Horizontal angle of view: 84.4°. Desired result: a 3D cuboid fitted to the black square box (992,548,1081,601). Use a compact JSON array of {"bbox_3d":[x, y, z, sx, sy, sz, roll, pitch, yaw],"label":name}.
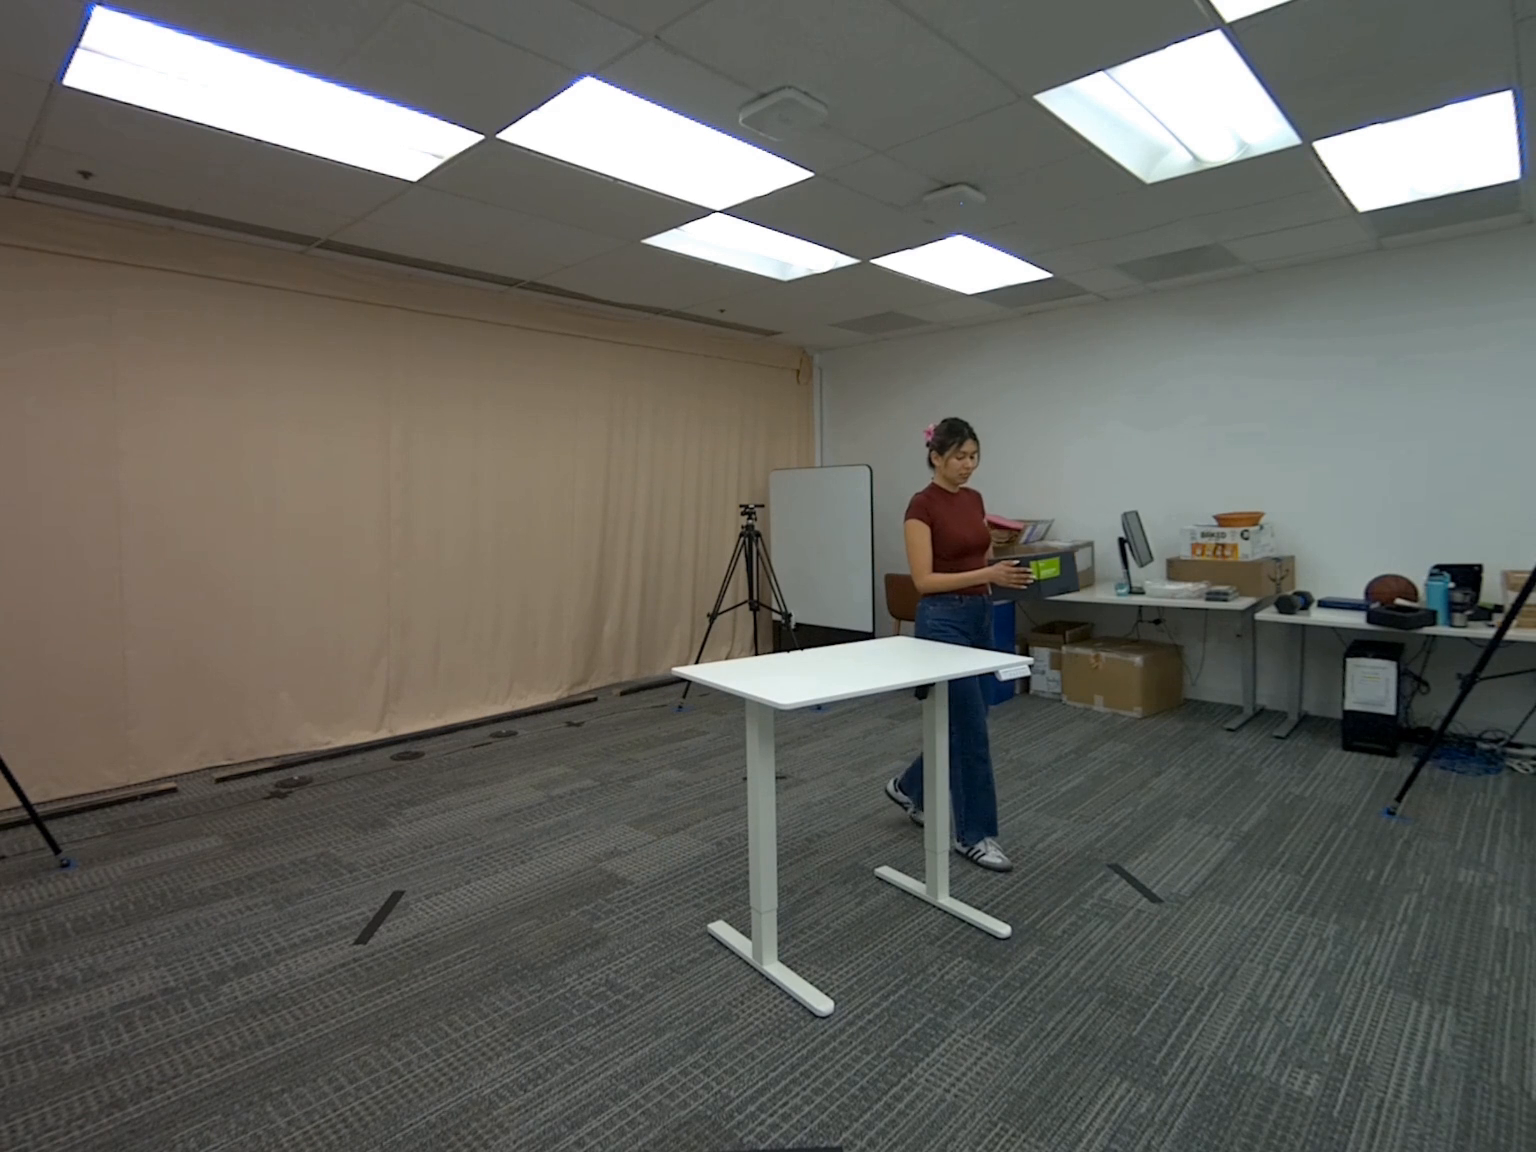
[{"bbox_3d":[0.970,-0.003,3.090,0.221,0.156,0.223,-7,1,-35],"label":"black square box"}]
